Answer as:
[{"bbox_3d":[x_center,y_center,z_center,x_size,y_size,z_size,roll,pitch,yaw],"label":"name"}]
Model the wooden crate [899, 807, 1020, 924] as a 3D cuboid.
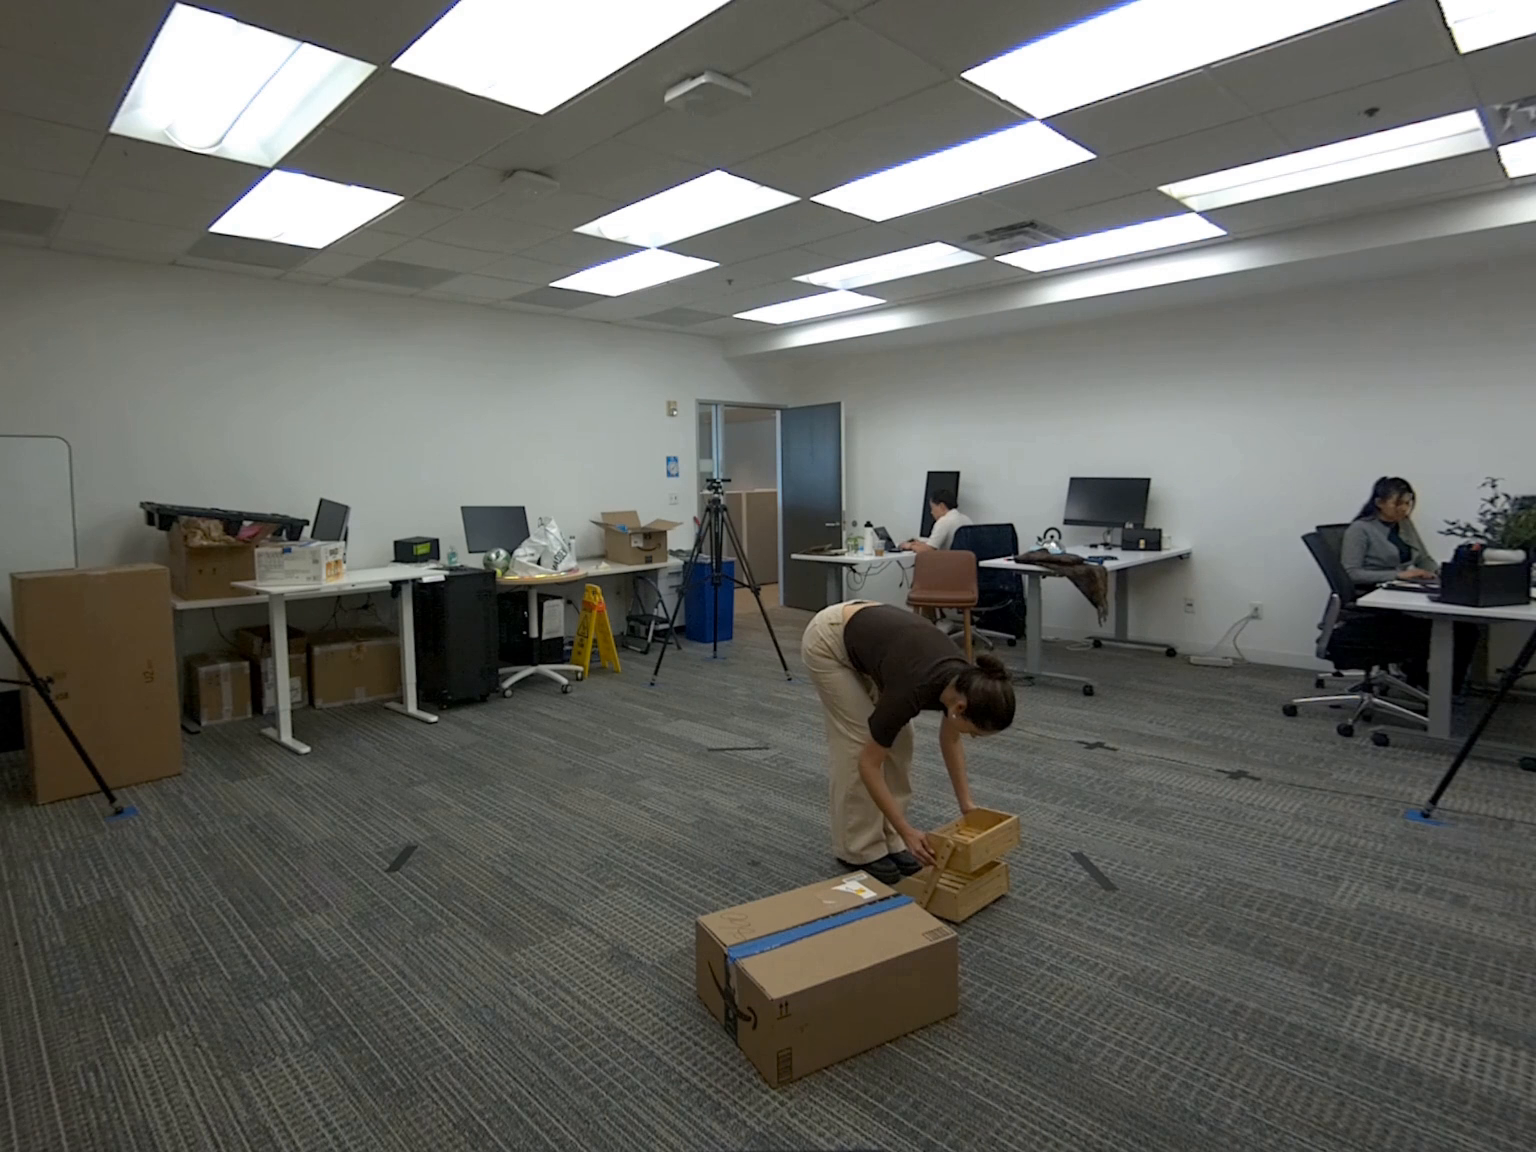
[{"bbox_3d":[0.620,0.919,2.806,0.316,0.273,0.311,-5,3,-44],"label":"wooden crate"}]
